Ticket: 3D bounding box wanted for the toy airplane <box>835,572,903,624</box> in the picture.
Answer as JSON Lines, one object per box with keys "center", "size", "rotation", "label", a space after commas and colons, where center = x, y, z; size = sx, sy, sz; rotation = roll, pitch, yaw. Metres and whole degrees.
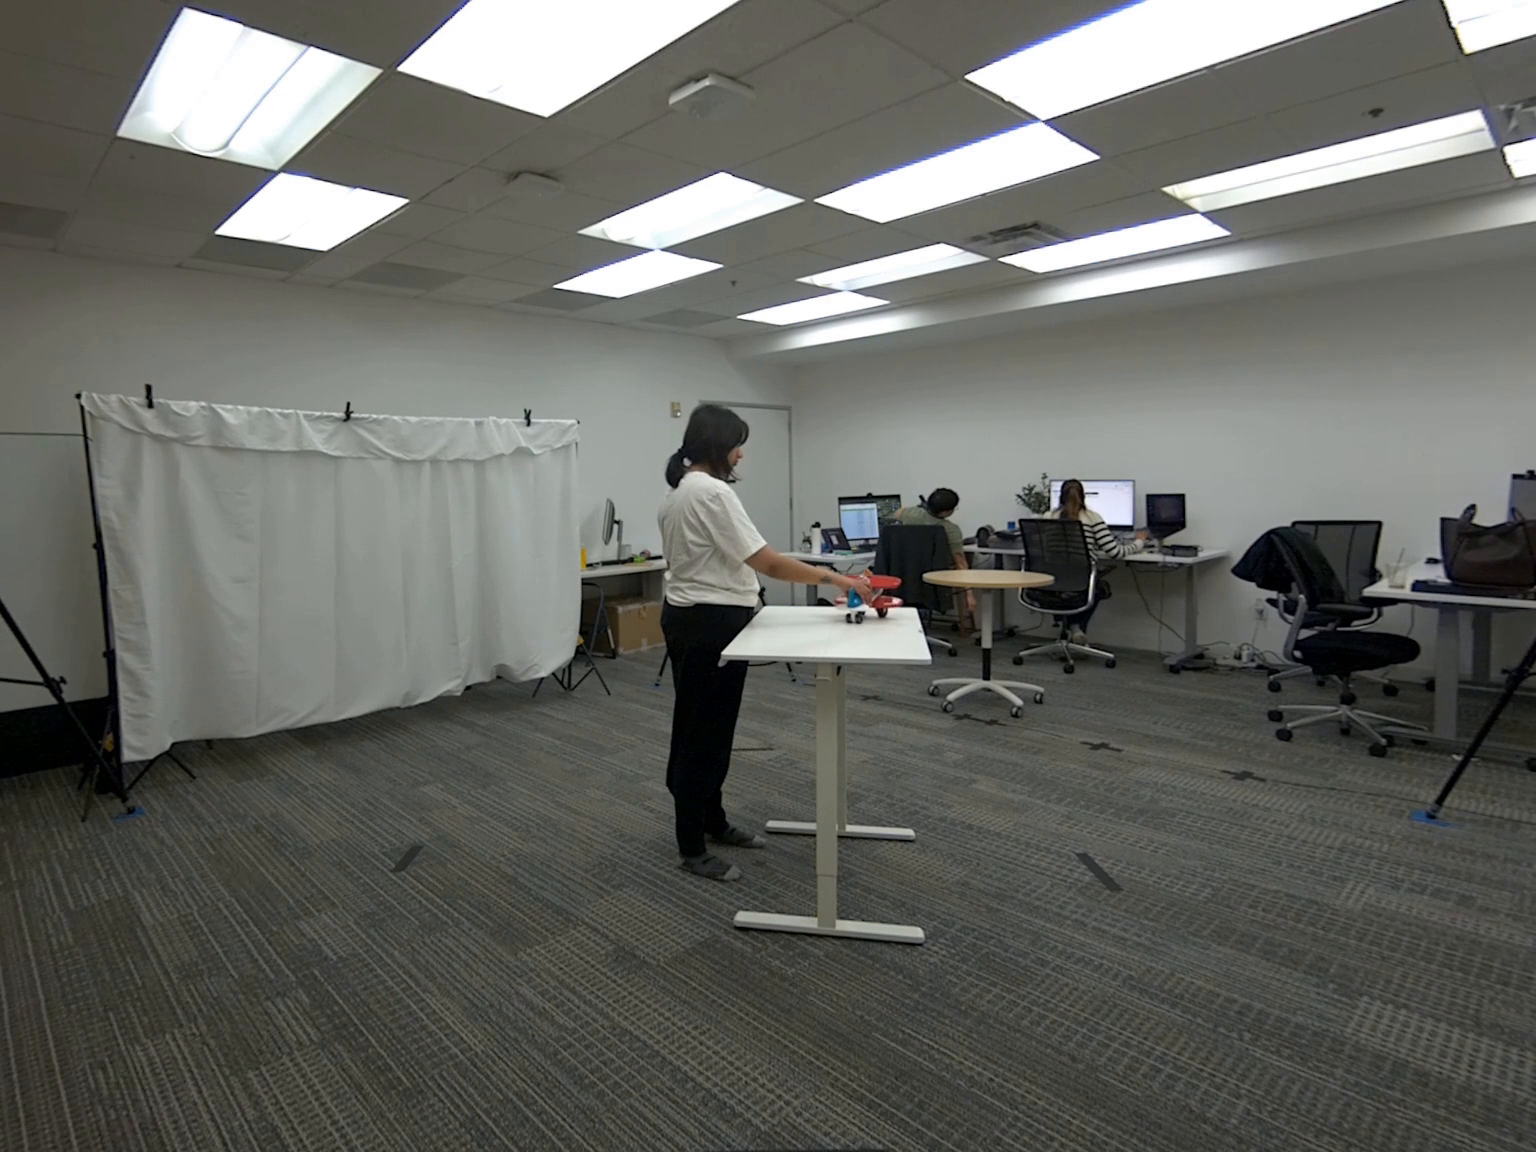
{"center": [0.366, 0.082, 3.099], "size": [0.251, 0.156, 0.260], "rotation": [0, 4, 0], "label": "toy airplane"}
